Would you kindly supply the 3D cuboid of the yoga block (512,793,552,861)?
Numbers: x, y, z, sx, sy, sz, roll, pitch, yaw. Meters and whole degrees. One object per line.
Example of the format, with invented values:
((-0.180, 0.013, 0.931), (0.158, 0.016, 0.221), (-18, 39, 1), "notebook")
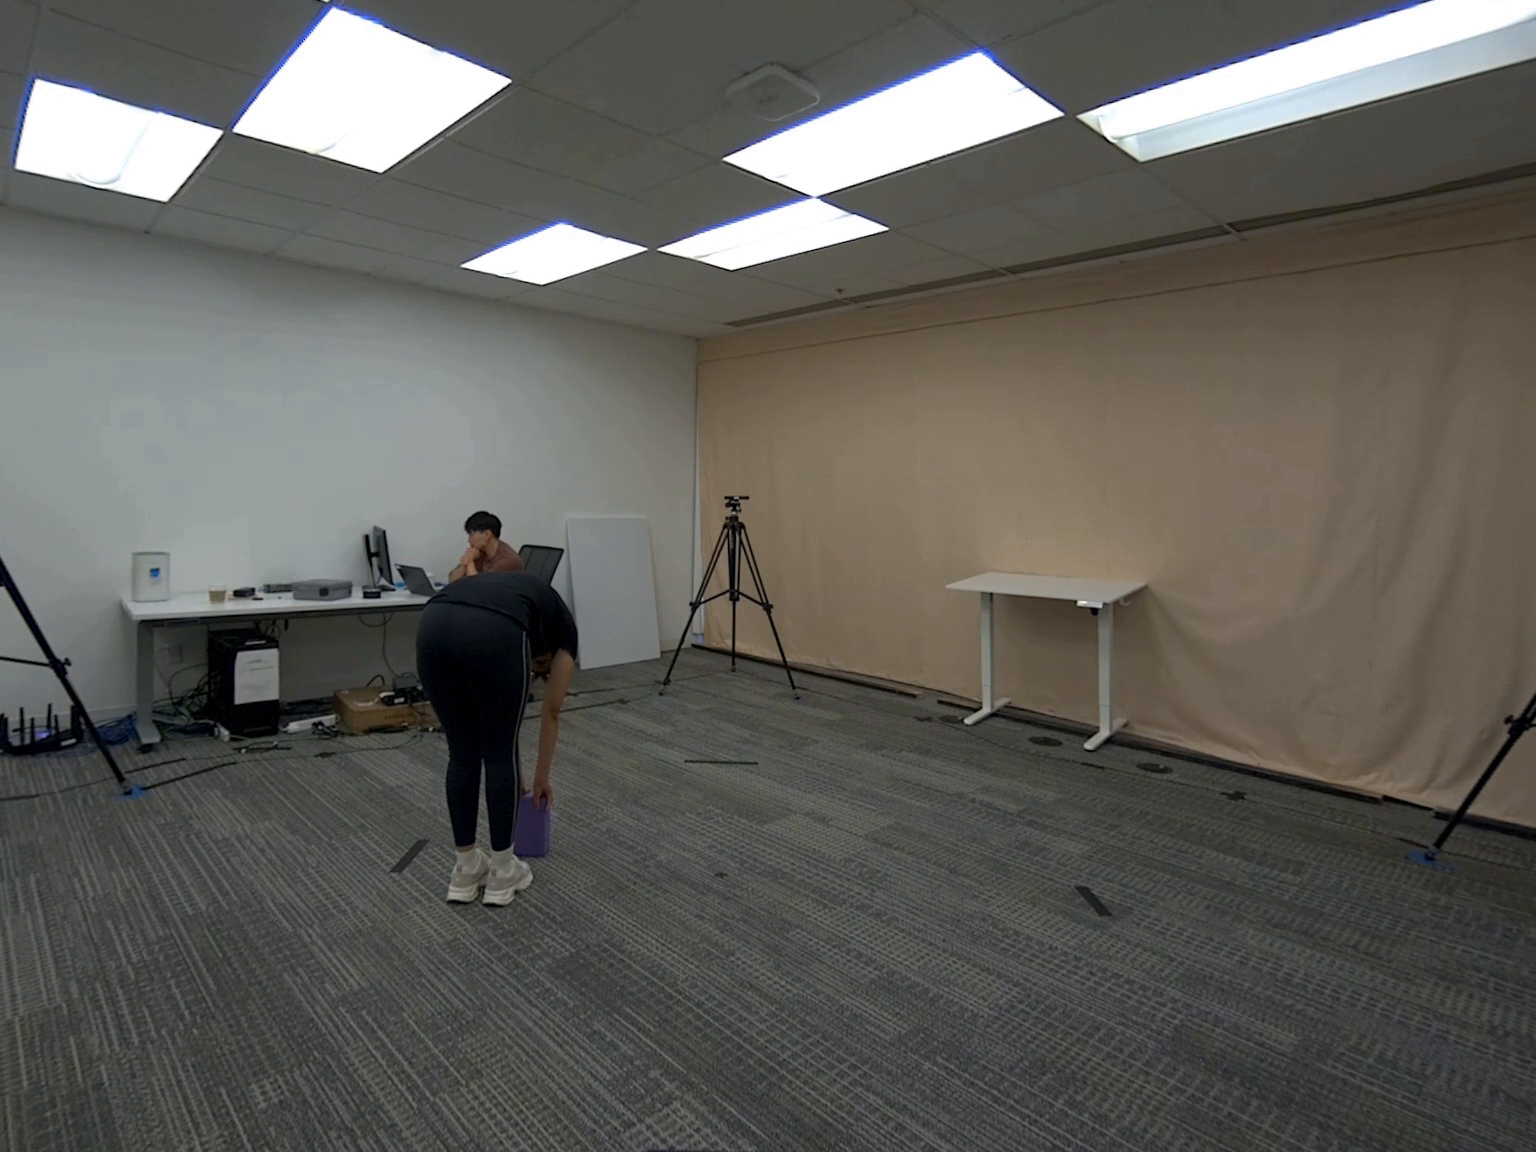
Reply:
((-0.930, 0.965, 3.254), (0.150, 0.229, 0.076), (3, 4, 5), "yoga block")
